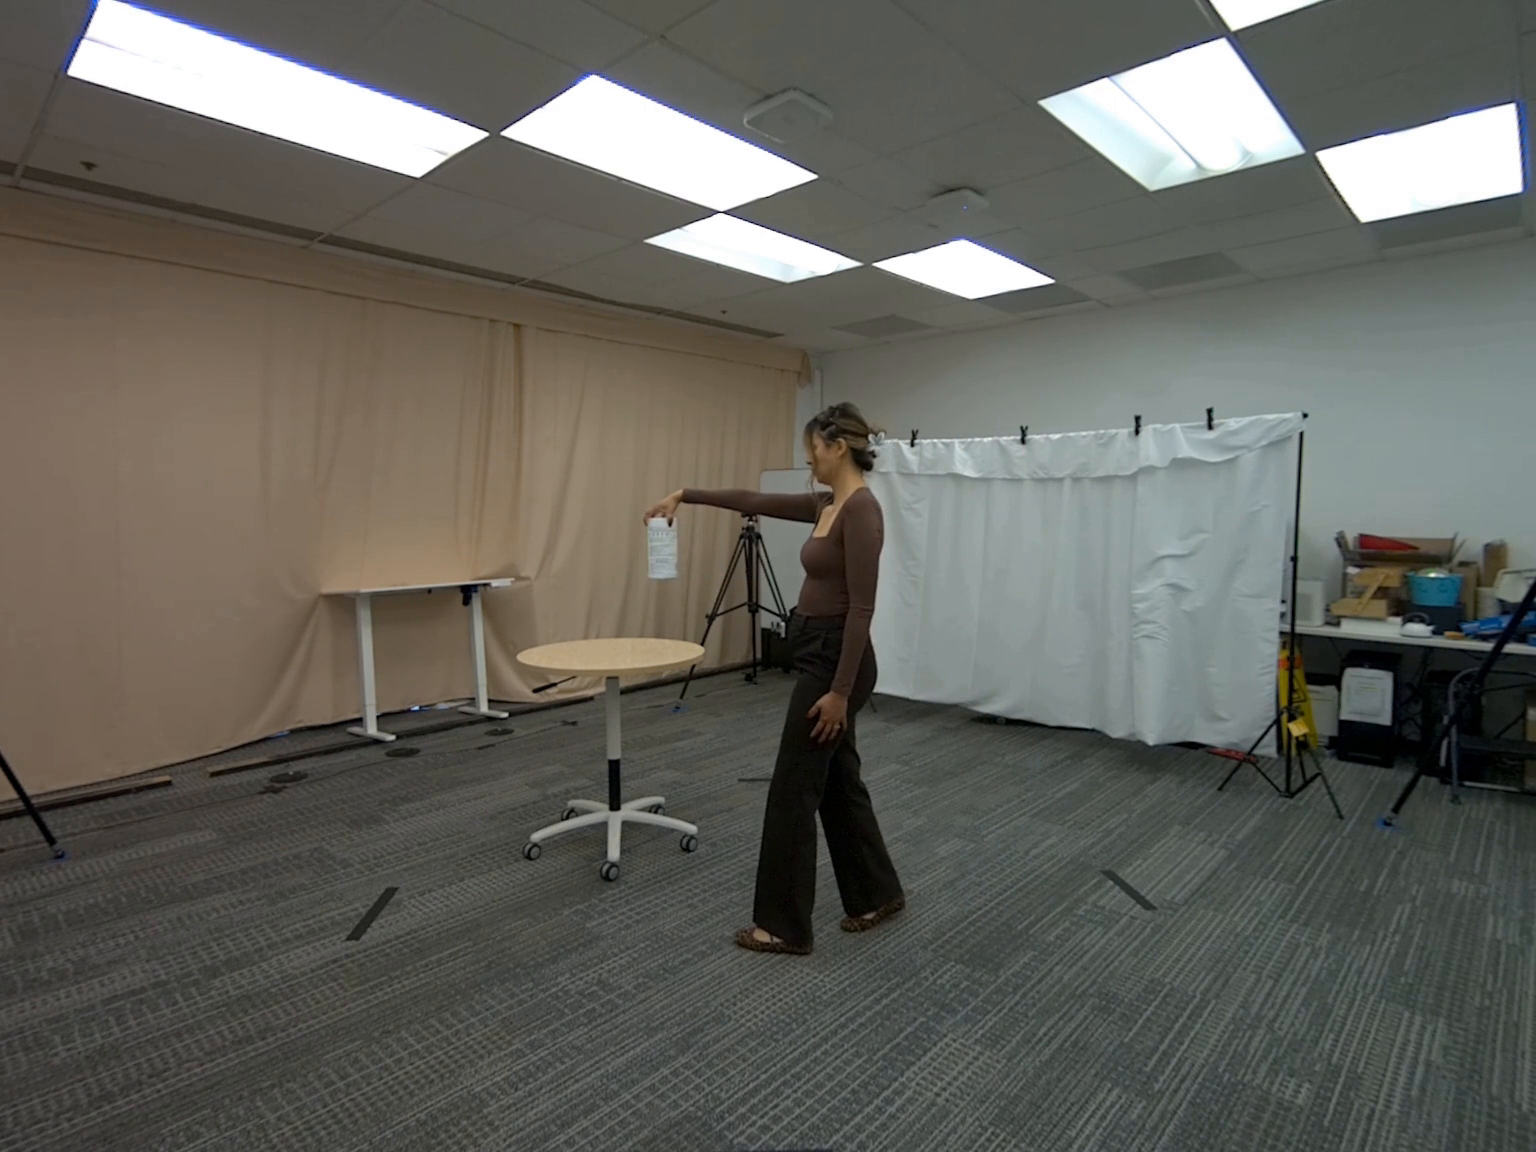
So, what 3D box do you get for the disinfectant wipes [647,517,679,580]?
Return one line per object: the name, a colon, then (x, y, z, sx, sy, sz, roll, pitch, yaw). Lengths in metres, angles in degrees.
disinfectant wipes: (-0.368, -0.098, 2.976, 0.117, 0.217, 0.118, 2, 3, -2)
